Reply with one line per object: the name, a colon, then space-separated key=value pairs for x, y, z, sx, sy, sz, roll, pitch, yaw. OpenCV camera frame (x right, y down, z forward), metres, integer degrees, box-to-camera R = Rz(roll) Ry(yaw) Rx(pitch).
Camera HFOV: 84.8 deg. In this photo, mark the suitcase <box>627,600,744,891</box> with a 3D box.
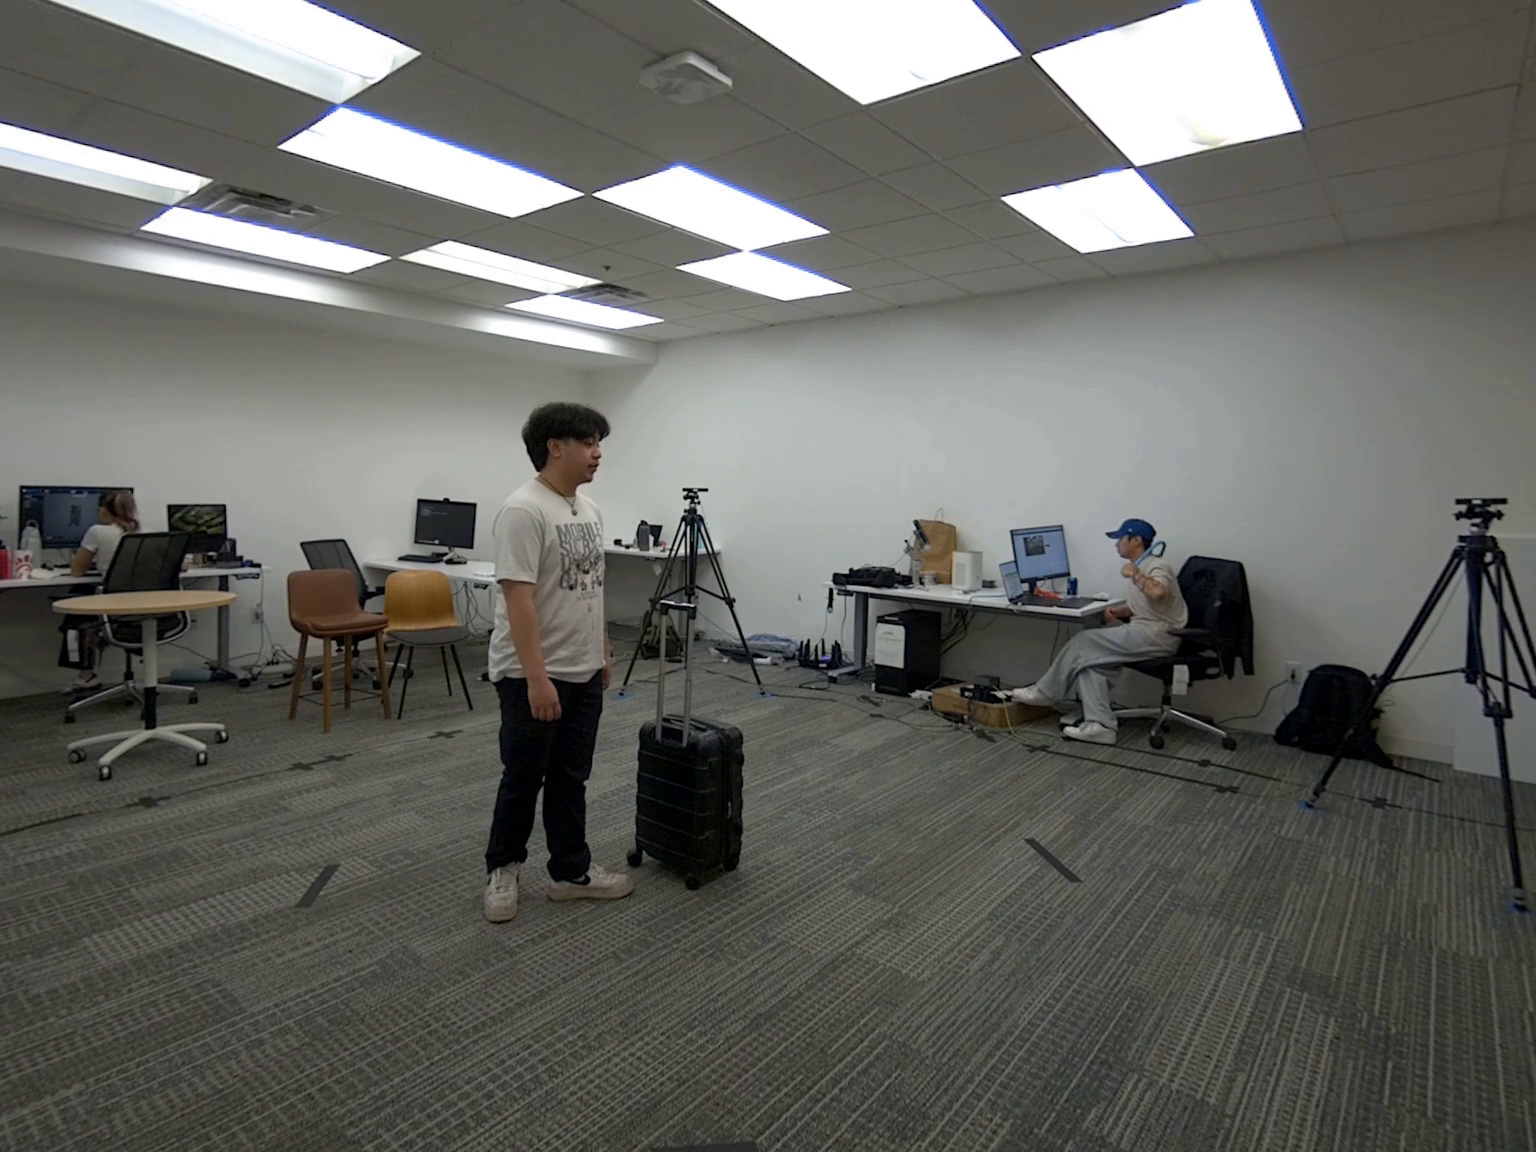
suitcase: x=-0.288 y=0.590 z=3.122 sx=0.397 sy=0.979 sz=0.249 roll=4 pitch=0 yaw=38
